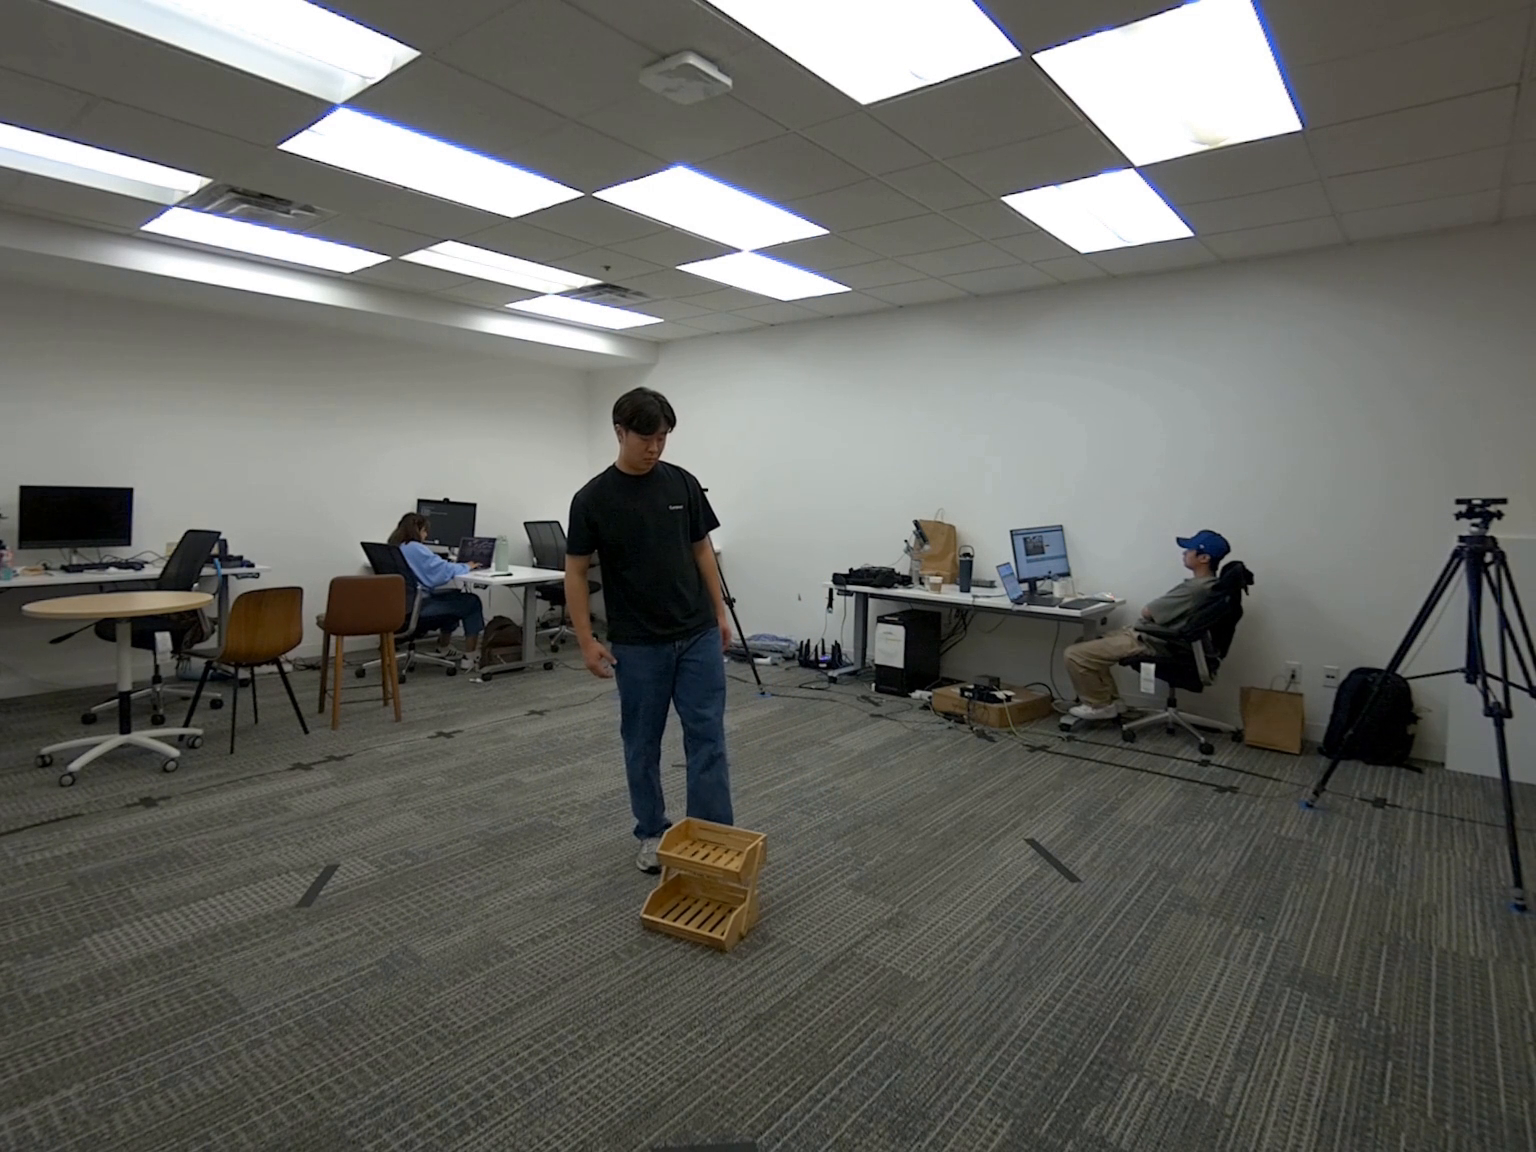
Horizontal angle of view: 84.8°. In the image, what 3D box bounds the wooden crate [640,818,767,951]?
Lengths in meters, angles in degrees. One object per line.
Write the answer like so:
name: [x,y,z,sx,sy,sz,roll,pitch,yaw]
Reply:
wooden crate: [-0.210,0.970,2.730,0.333,0.272,0.295,3,4,24]
